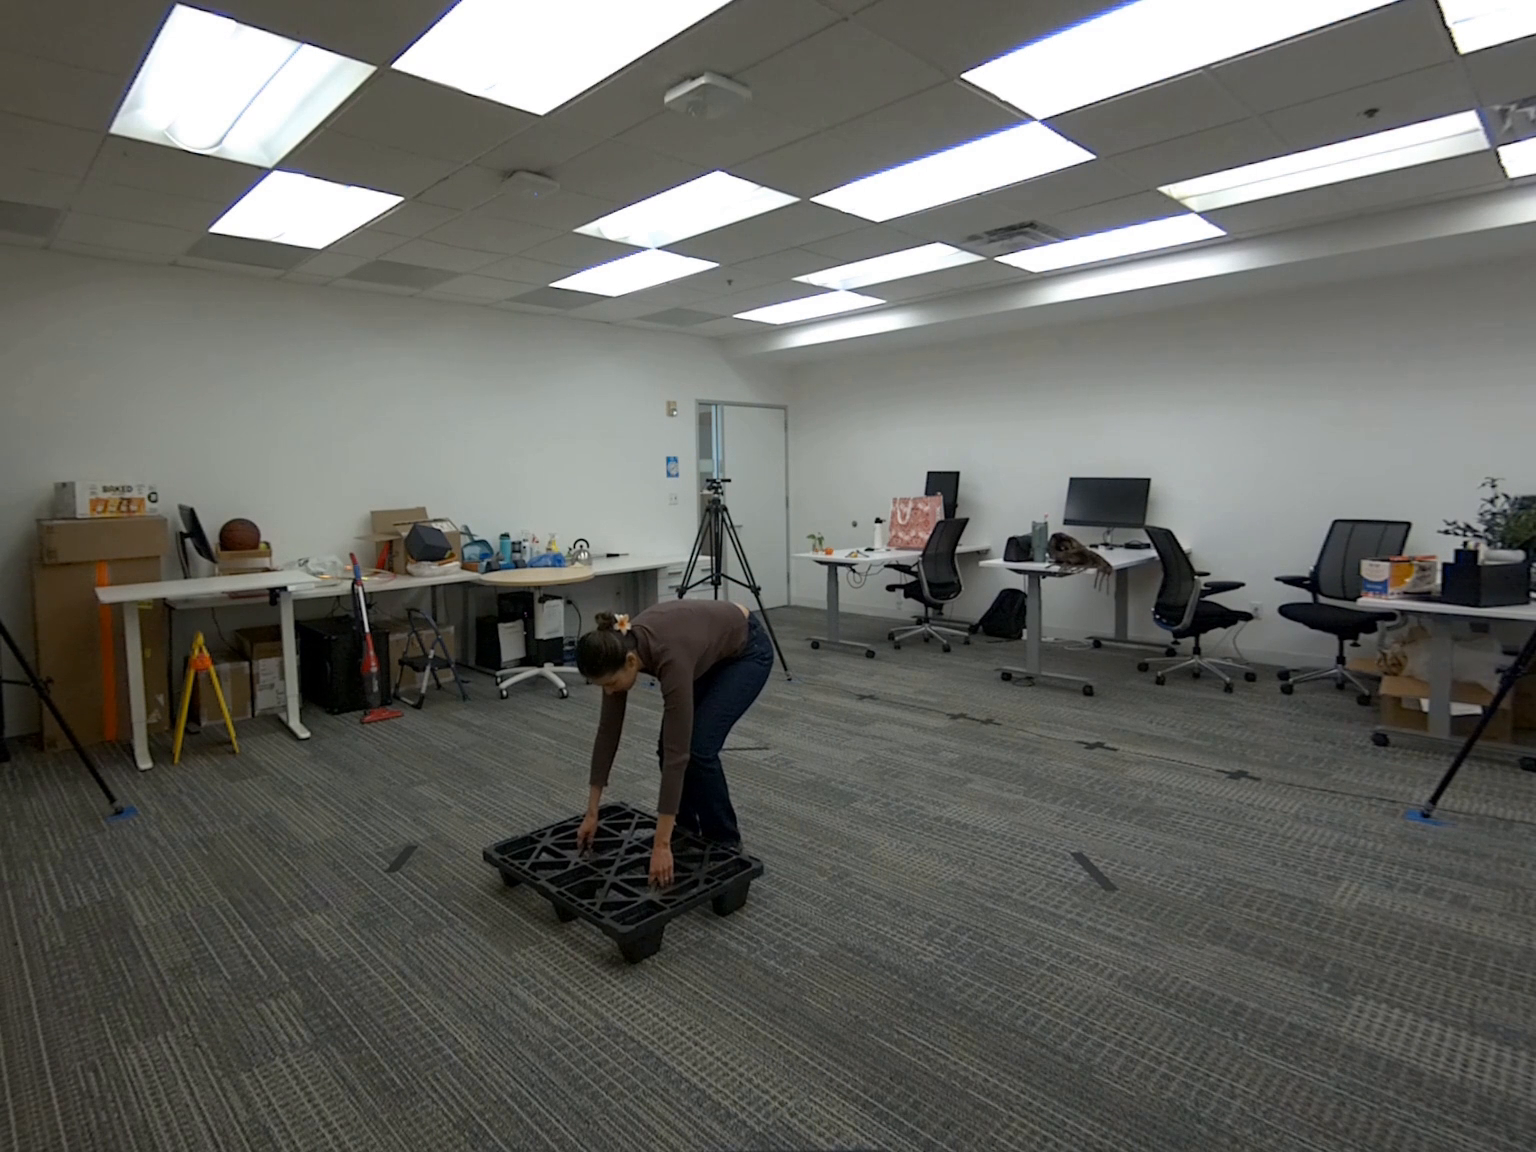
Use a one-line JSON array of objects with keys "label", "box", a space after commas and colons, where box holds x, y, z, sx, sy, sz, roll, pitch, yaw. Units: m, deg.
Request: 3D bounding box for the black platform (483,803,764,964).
[{"label": "black platform", "box": [-0.497, 1.008, 2.896, 0.831, 0.142, 0.589, 6, 9, 43]}]
